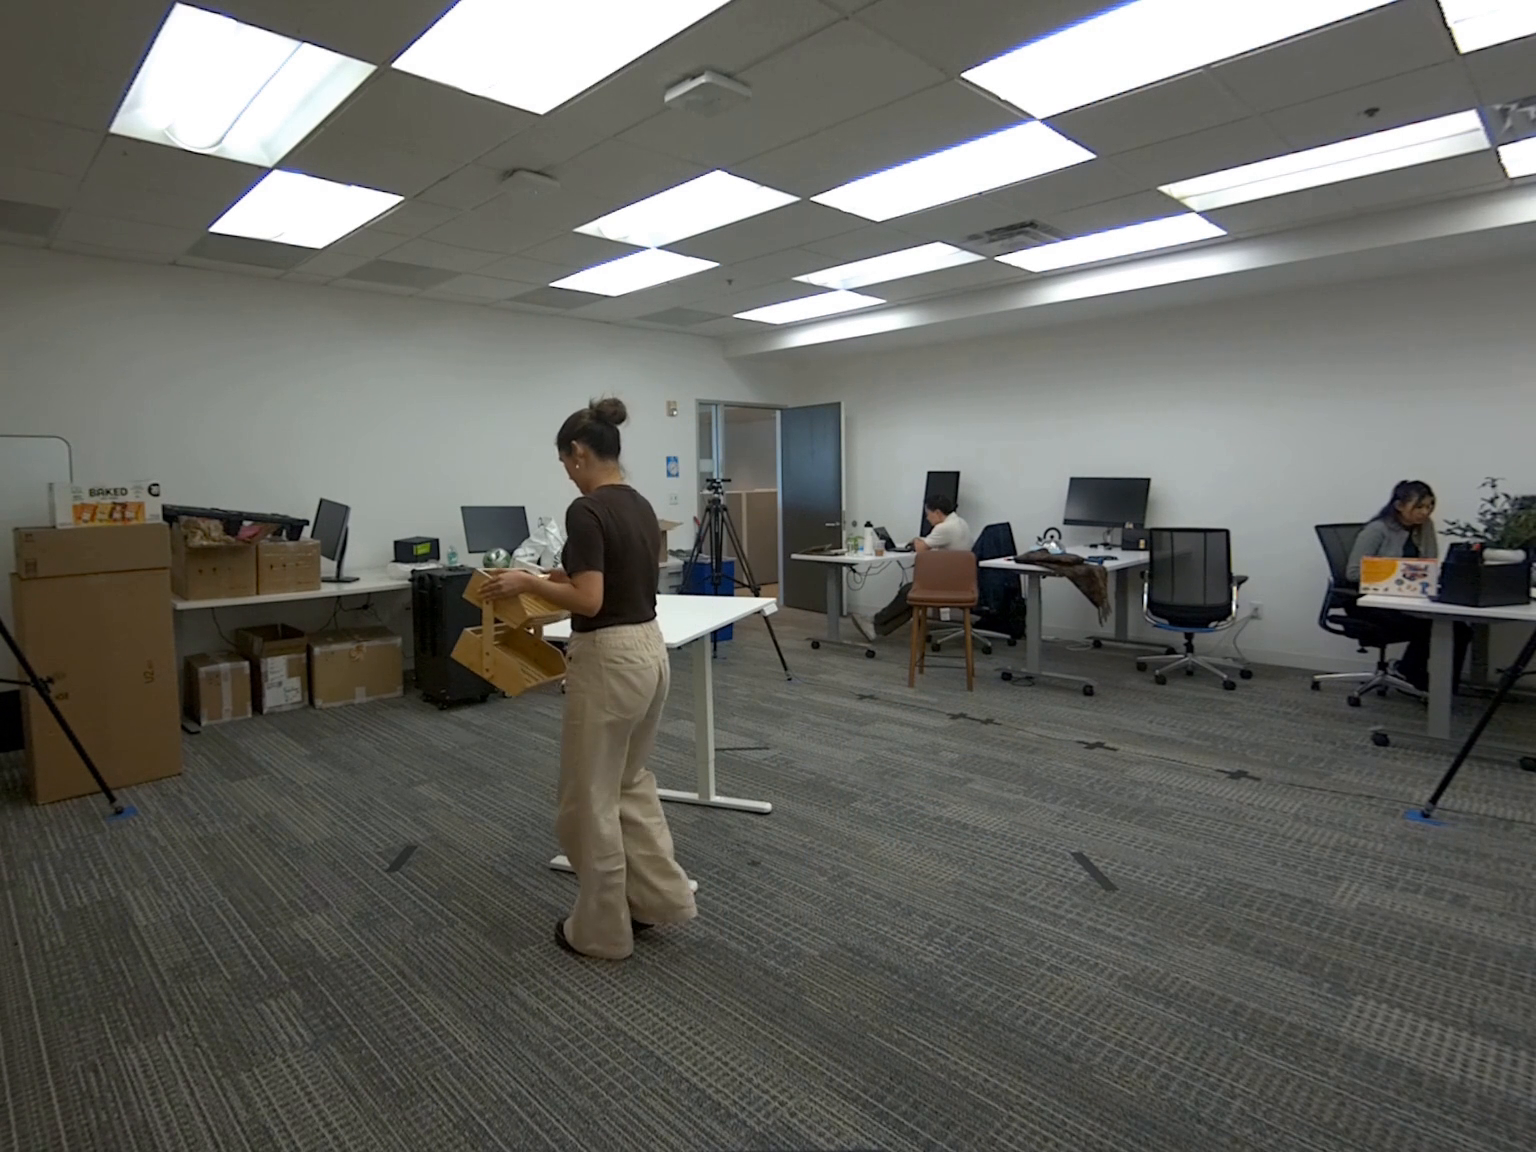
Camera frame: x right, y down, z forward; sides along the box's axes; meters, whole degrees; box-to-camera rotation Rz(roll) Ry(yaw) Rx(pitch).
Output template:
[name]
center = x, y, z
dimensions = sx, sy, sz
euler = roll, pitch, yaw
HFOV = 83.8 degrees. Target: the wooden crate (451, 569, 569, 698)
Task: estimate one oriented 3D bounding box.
[wooden crate]
center = -0.718, 0.160, 2.552
dimensions = 0.307, 0.273, 0.320
euler = 29, 5, 10
